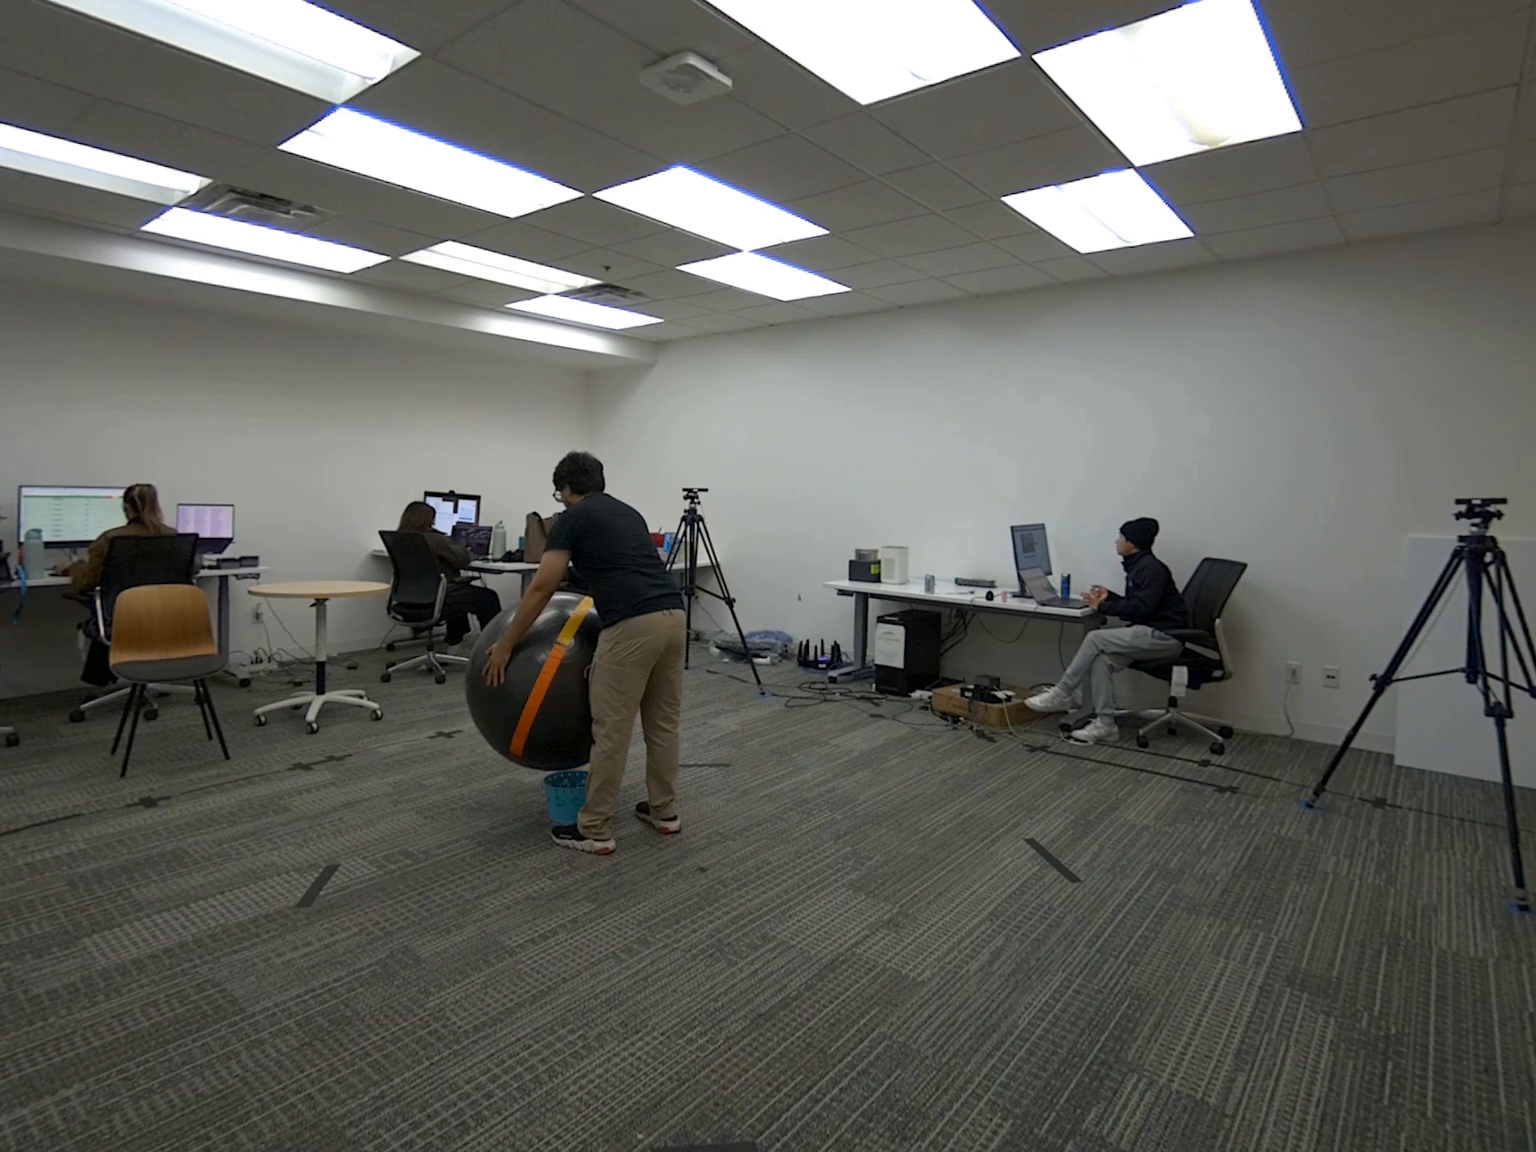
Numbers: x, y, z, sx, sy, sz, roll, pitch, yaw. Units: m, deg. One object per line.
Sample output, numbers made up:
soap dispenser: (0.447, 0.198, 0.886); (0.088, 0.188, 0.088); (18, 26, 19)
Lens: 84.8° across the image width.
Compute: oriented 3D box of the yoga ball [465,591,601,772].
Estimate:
yoga ball: (-0.929, 0.449, 3.669); (0.757, 0.756, 0.762); (1, 4, -2)
